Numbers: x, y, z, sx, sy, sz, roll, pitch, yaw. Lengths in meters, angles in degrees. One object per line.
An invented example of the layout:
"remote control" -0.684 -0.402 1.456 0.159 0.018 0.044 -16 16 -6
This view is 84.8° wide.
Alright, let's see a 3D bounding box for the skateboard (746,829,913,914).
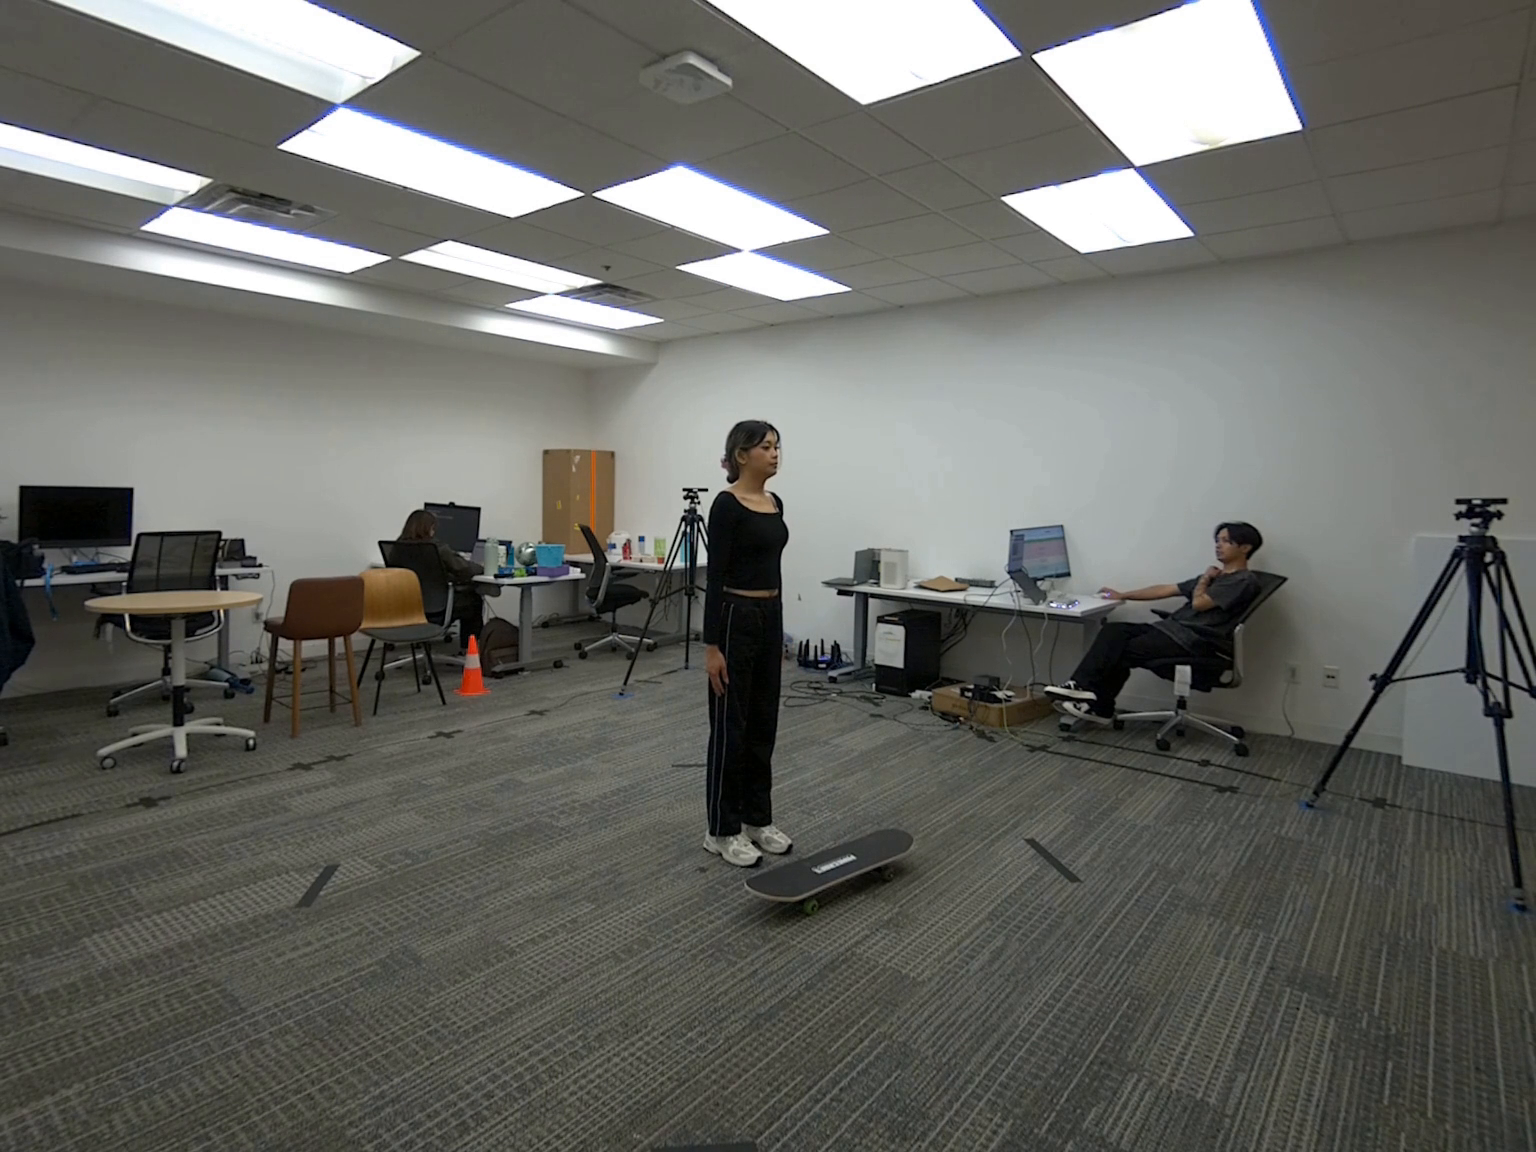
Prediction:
"skateboard" 0.235 1.037 2.982 0.762 0.110 0.200 -4 8 -41
